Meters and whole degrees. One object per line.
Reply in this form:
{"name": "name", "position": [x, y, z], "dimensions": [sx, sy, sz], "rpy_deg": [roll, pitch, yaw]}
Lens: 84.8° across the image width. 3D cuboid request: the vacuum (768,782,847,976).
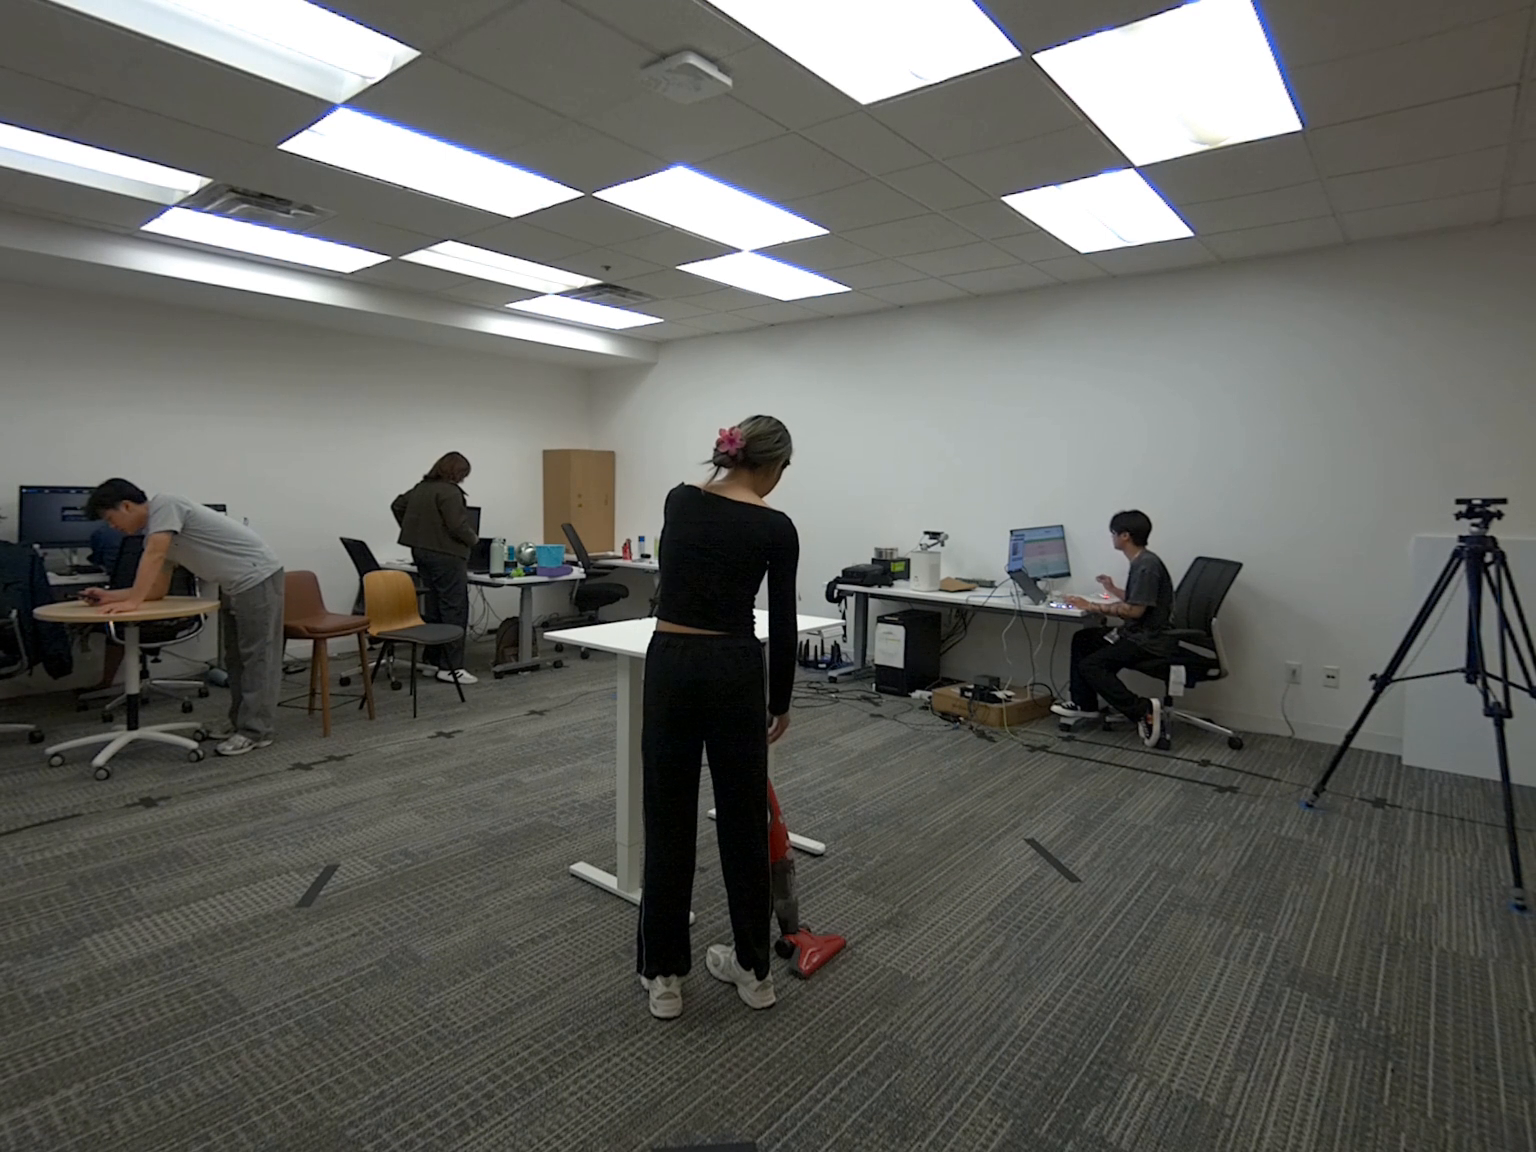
{"name": "vacuum", "position": [-0.042, 0.636, 2.666], "dimensions": [0.246, 1.066, 0.145], "rpy_deg": [-7, -16, -40]}
